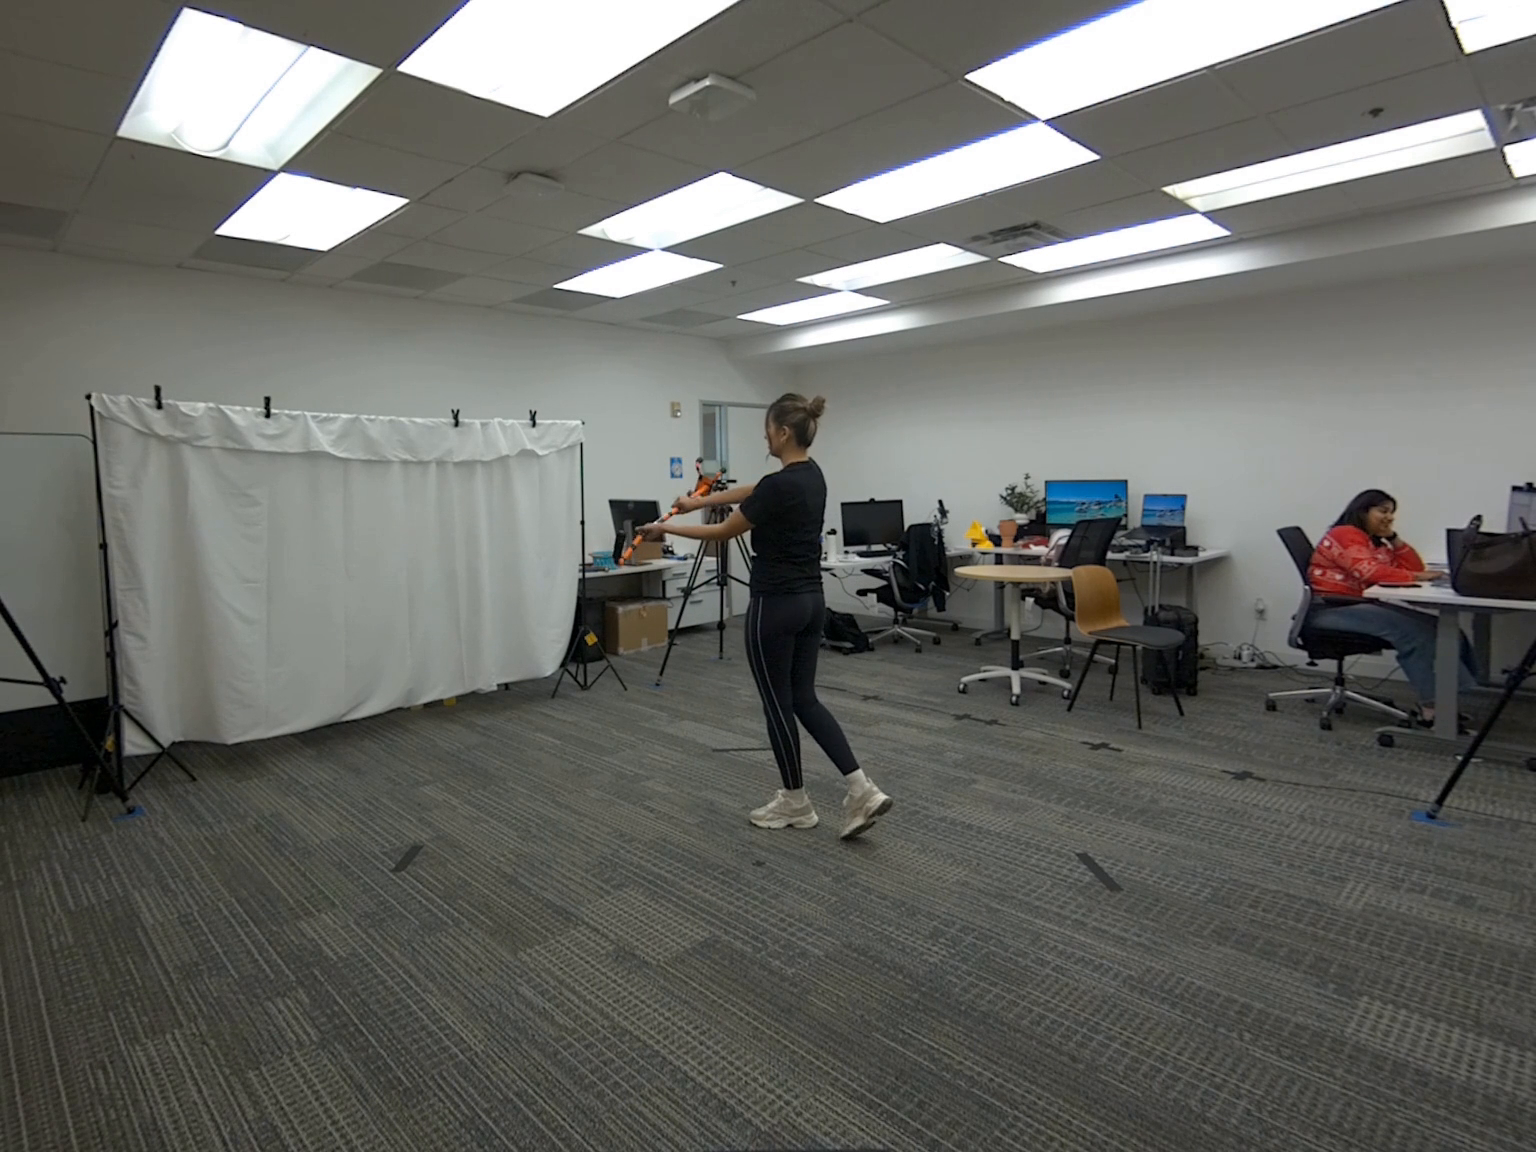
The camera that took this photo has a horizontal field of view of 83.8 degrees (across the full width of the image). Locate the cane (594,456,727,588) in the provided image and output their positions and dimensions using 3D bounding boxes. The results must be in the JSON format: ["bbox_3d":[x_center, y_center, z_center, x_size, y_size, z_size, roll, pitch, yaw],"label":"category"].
[{"bbox_3d":[-0.426,-0.255,3.578,0.154,0.203,0.909,21,29,9],"label":"cane"}]
